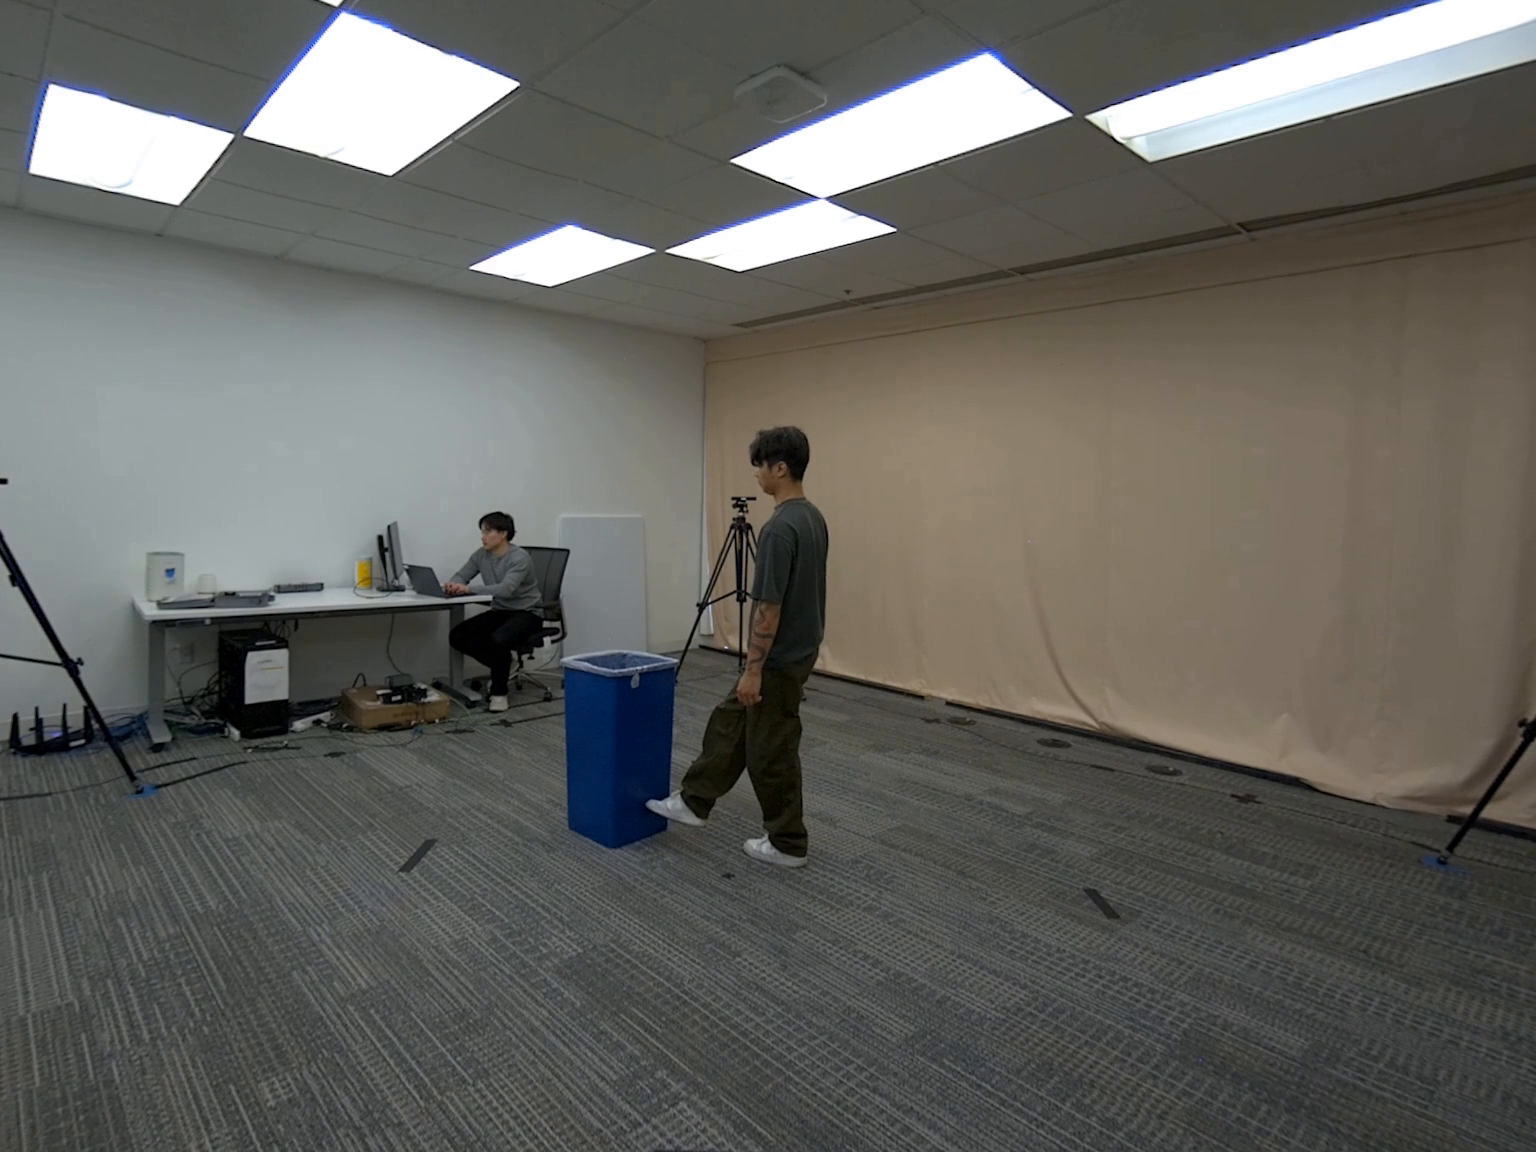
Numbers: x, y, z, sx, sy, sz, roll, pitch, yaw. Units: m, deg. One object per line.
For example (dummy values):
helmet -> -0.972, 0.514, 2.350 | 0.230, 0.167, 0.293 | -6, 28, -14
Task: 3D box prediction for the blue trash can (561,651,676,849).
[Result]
blue trash can -> -0.624, 0.702, 3.500 | 0.387, 0.712, 0.365 | 4, 3, 40
